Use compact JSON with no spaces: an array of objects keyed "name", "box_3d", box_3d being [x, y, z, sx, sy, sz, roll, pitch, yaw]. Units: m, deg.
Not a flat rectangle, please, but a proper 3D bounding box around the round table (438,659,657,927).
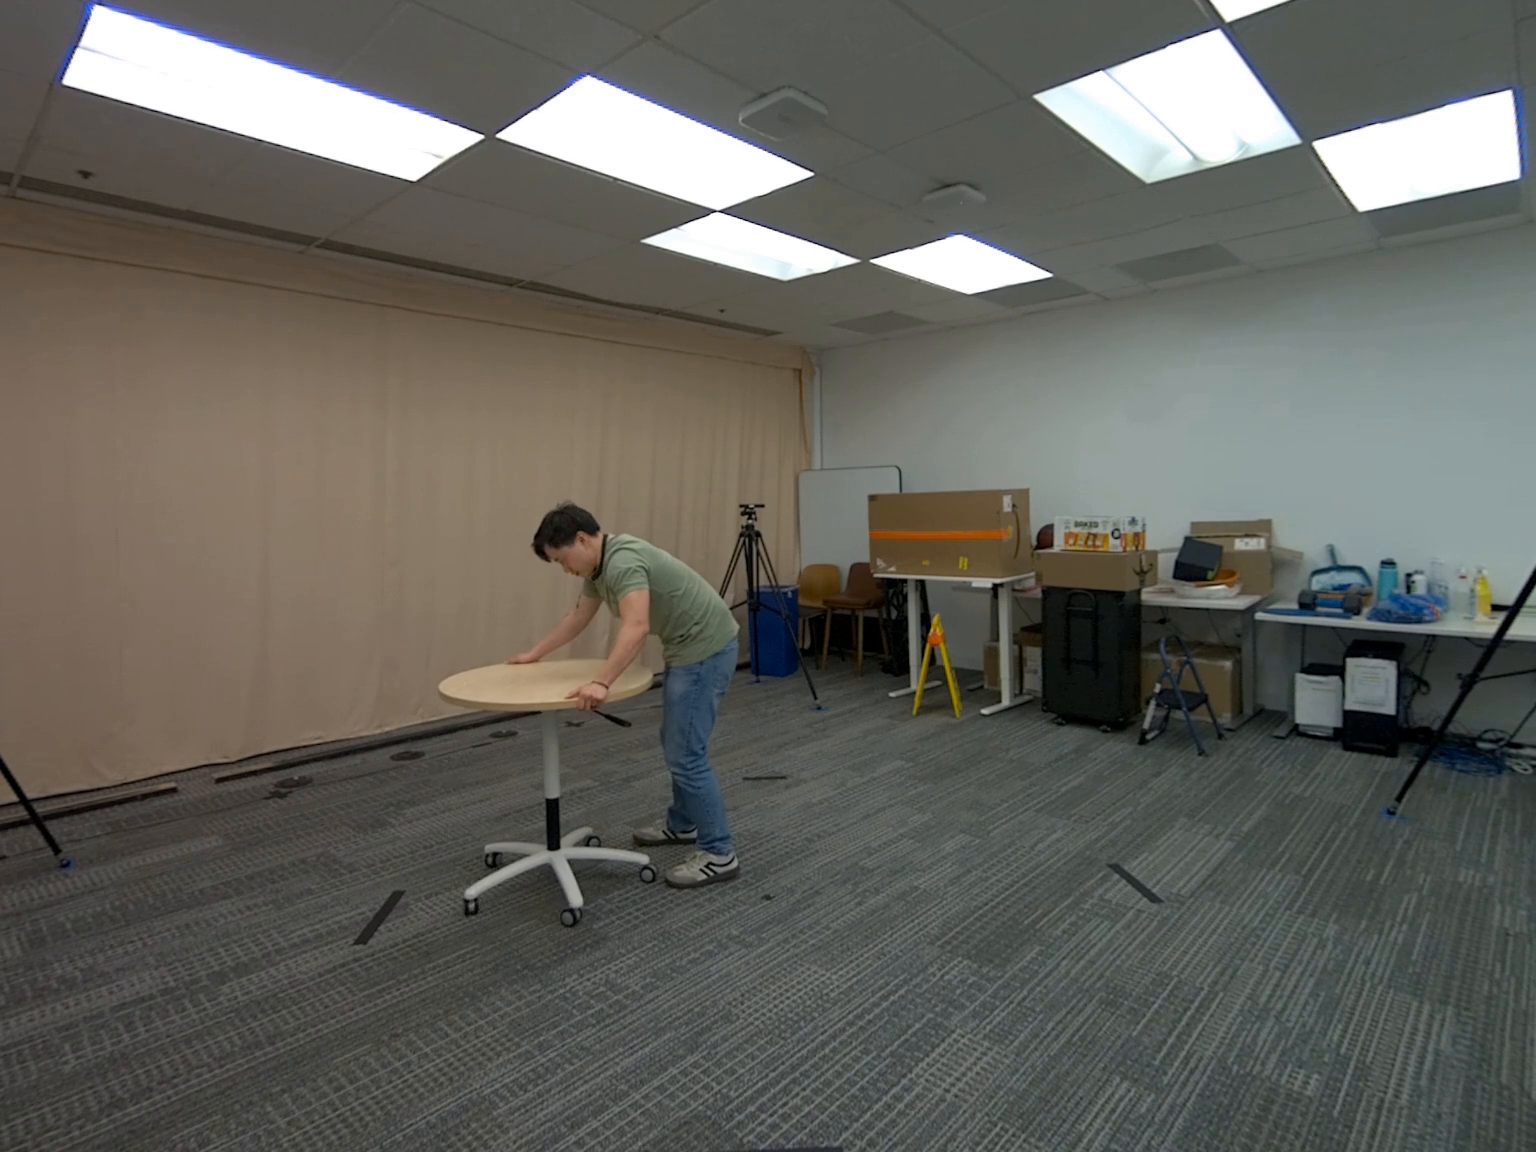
[{"name":"round table","box_3d":[-0.795,0.764,3.101,0.763,0.792,0.766,-1,4,-2]}]
